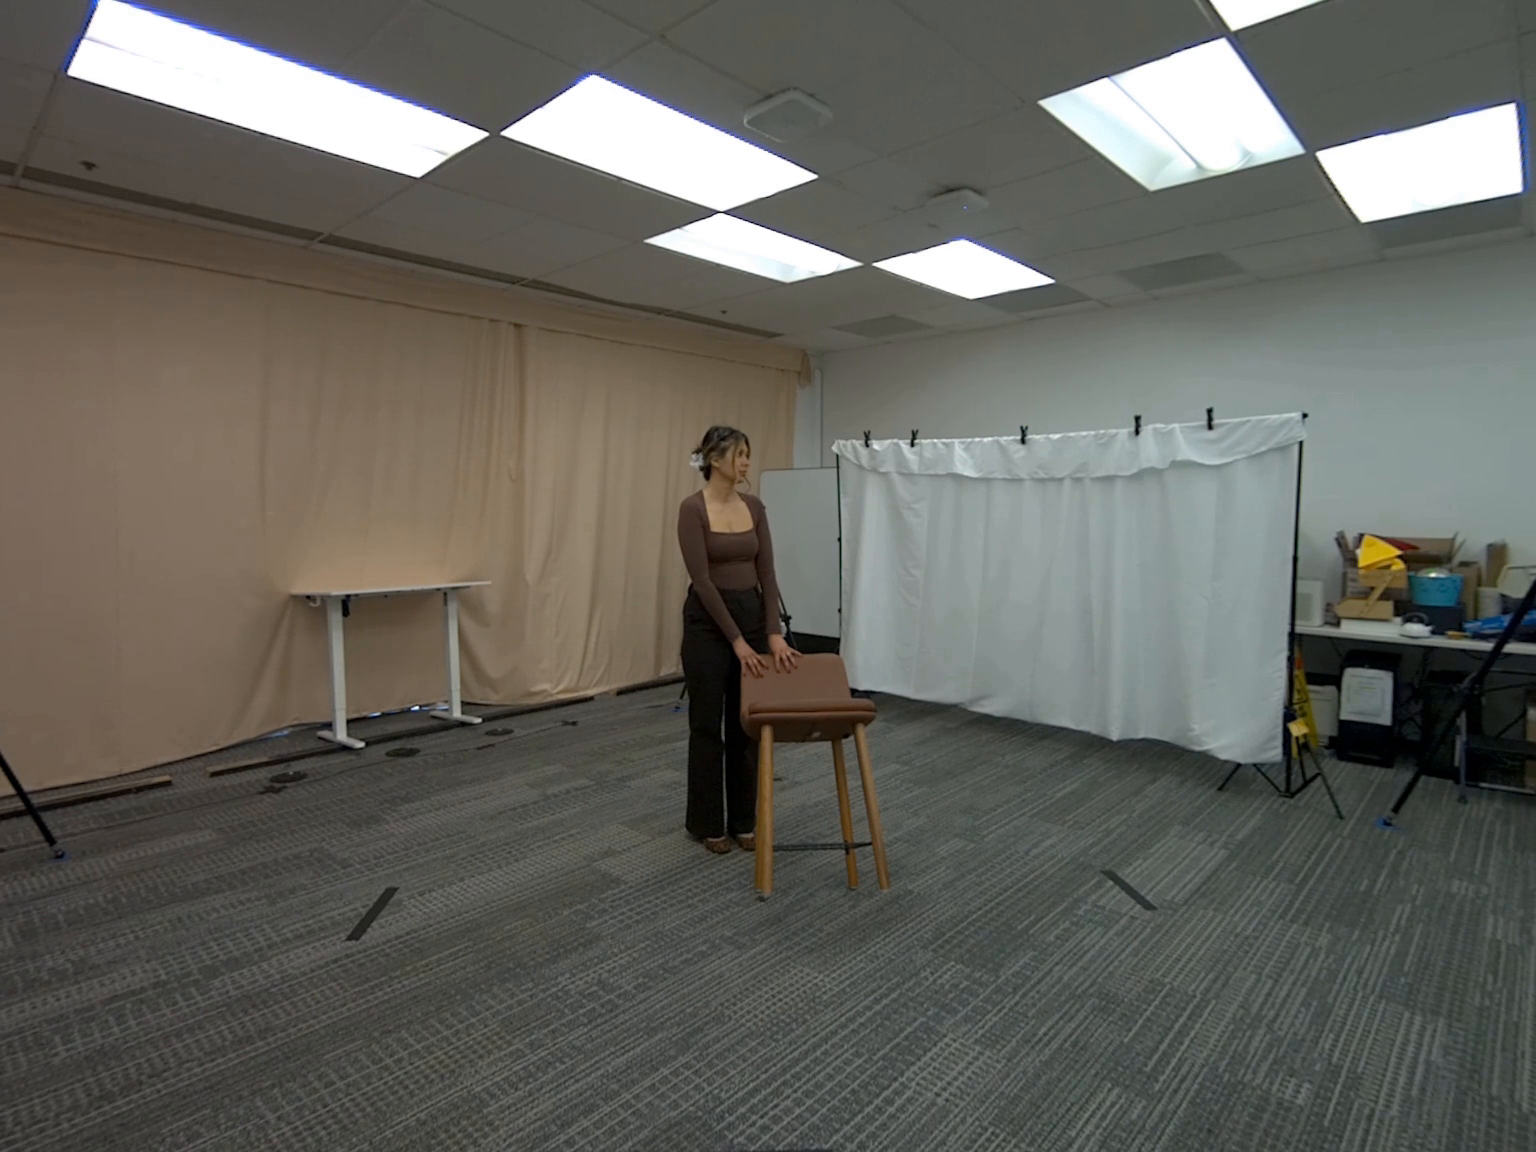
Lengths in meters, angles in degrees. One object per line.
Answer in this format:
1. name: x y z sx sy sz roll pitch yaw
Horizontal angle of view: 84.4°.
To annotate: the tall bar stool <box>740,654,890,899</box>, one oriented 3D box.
1. tall bar stool: 0.147 0.657 3.017 0.455 0.902 0.463 -1 -22 -4
